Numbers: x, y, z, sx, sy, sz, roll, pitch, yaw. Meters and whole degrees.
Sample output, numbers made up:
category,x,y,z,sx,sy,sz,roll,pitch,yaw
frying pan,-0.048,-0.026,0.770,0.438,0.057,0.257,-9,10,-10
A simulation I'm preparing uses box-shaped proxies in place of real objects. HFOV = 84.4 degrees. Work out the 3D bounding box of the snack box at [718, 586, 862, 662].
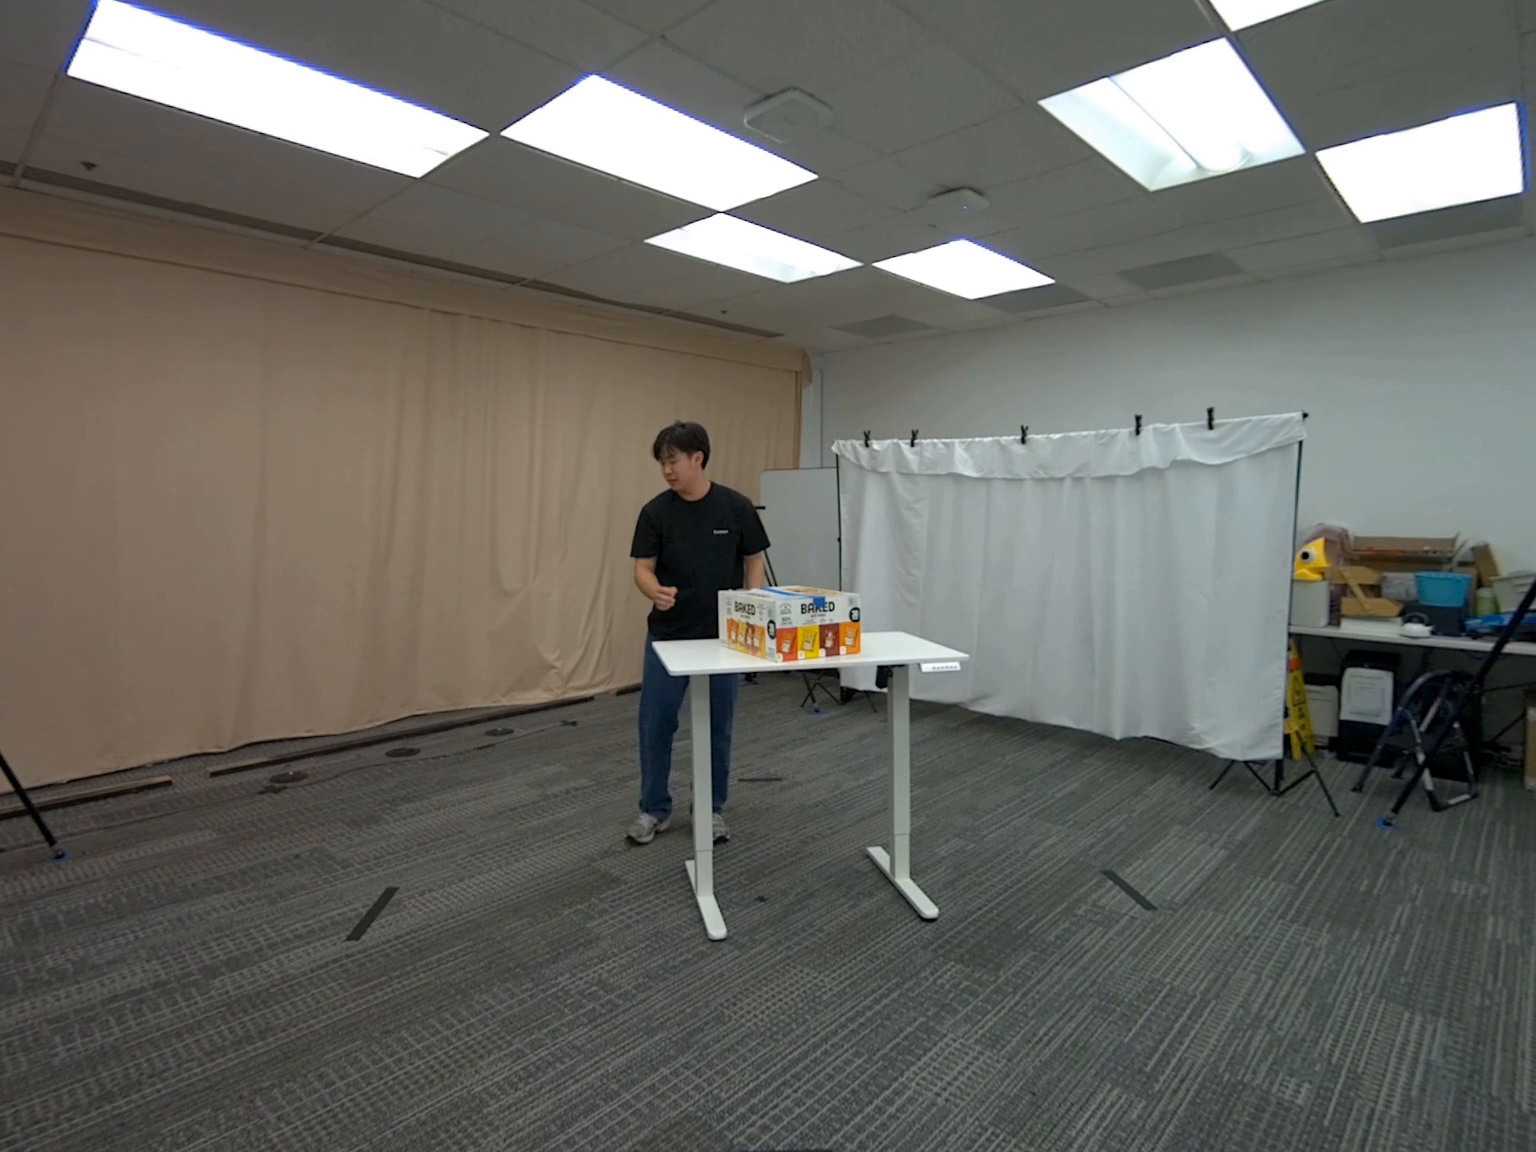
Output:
category,x,y,z,sx,sy,sz,roll,pitch,yaw
snack box,0.071,0.159,2.978,0.331,0.205,0.416,-3,4,-29
